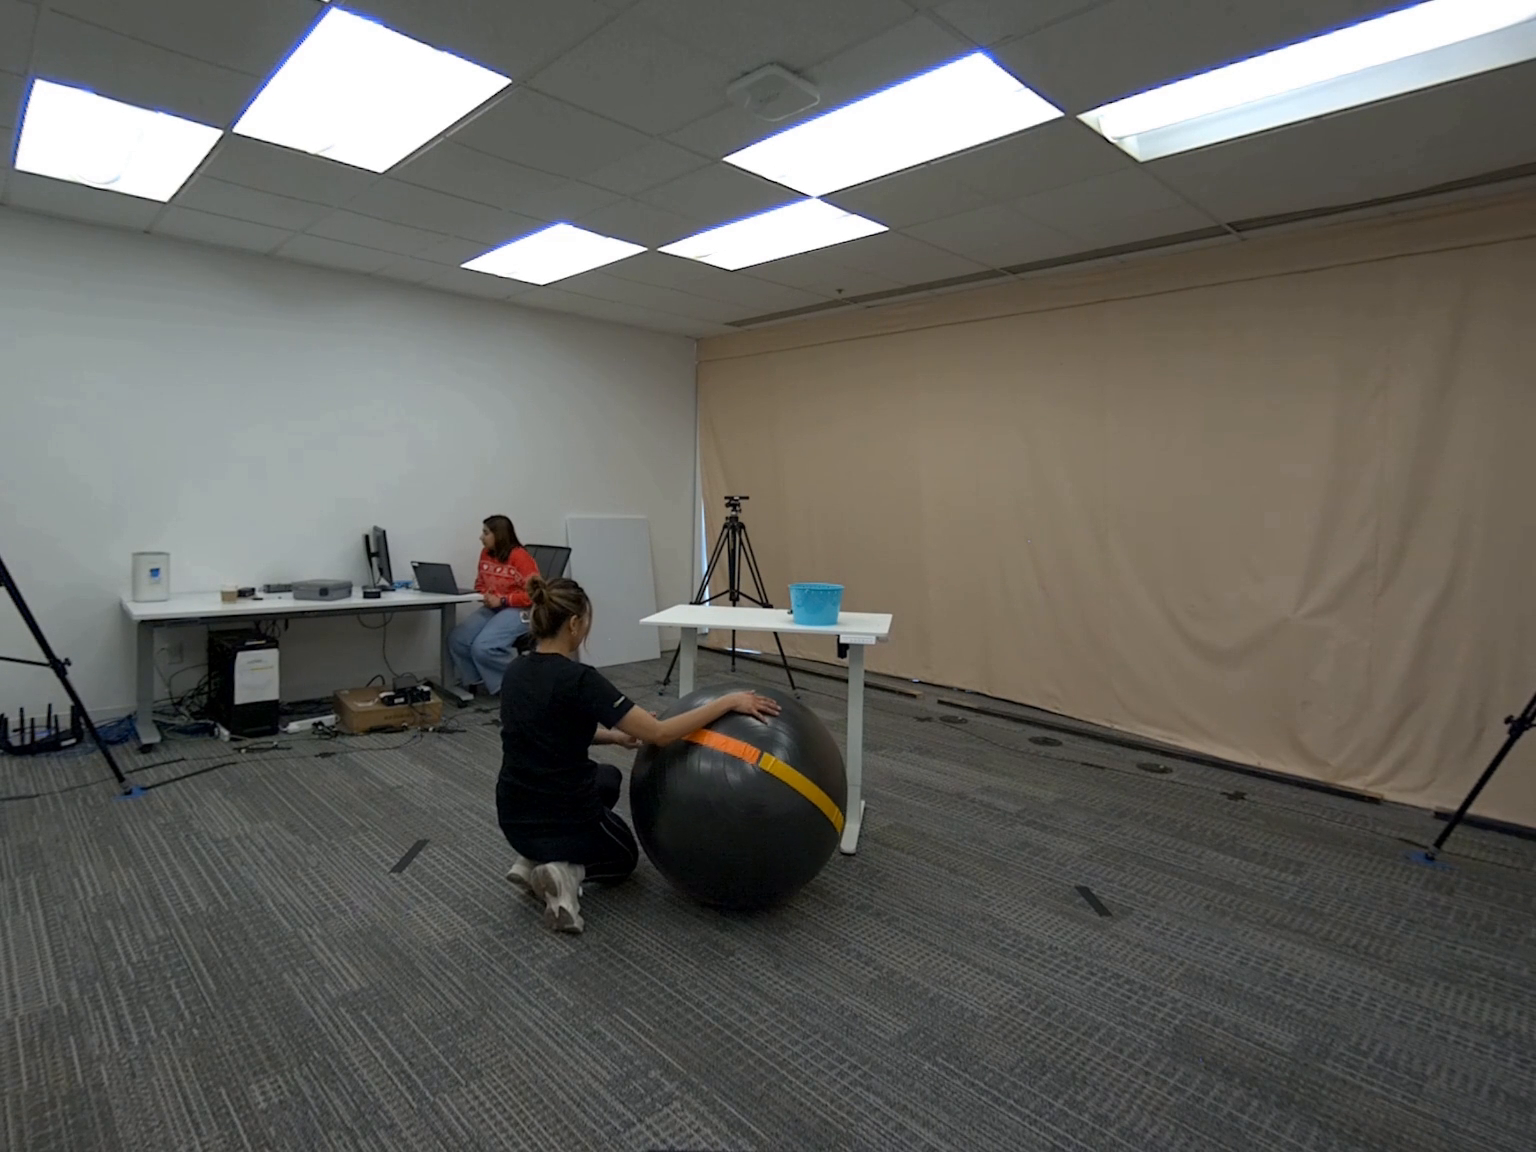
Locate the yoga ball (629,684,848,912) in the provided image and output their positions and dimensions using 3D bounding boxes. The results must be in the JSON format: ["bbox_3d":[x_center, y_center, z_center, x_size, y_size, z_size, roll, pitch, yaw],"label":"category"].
[{"bbox_3d":[-0.106,0.762,2.929,0.757,0.756,0.761,1,4,-1],"label":"yoga ball"}]
